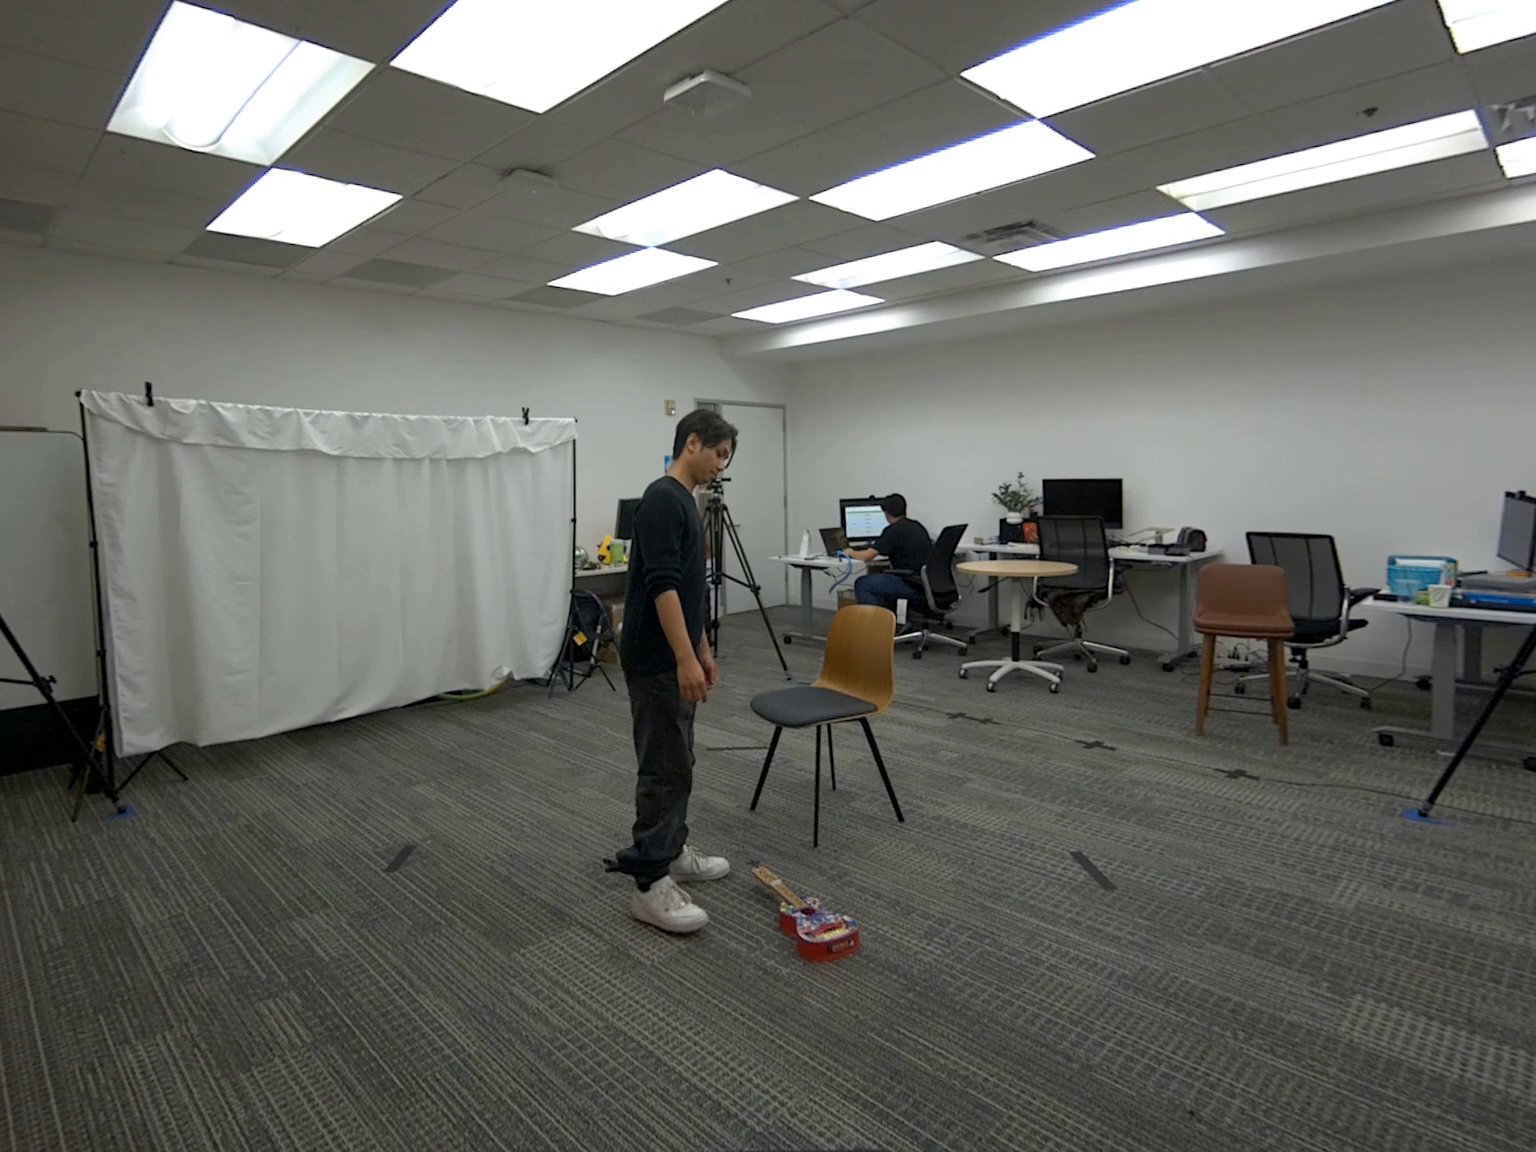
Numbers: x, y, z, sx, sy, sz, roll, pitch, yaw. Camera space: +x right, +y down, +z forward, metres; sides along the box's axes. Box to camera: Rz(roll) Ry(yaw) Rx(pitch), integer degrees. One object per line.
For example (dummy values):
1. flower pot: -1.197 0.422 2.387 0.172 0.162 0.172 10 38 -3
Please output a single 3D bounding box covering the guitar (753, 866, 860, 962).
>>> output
1. guitar: 0.113 1.049 2.702 0.190 0.070 0.509 -3 7 -20
